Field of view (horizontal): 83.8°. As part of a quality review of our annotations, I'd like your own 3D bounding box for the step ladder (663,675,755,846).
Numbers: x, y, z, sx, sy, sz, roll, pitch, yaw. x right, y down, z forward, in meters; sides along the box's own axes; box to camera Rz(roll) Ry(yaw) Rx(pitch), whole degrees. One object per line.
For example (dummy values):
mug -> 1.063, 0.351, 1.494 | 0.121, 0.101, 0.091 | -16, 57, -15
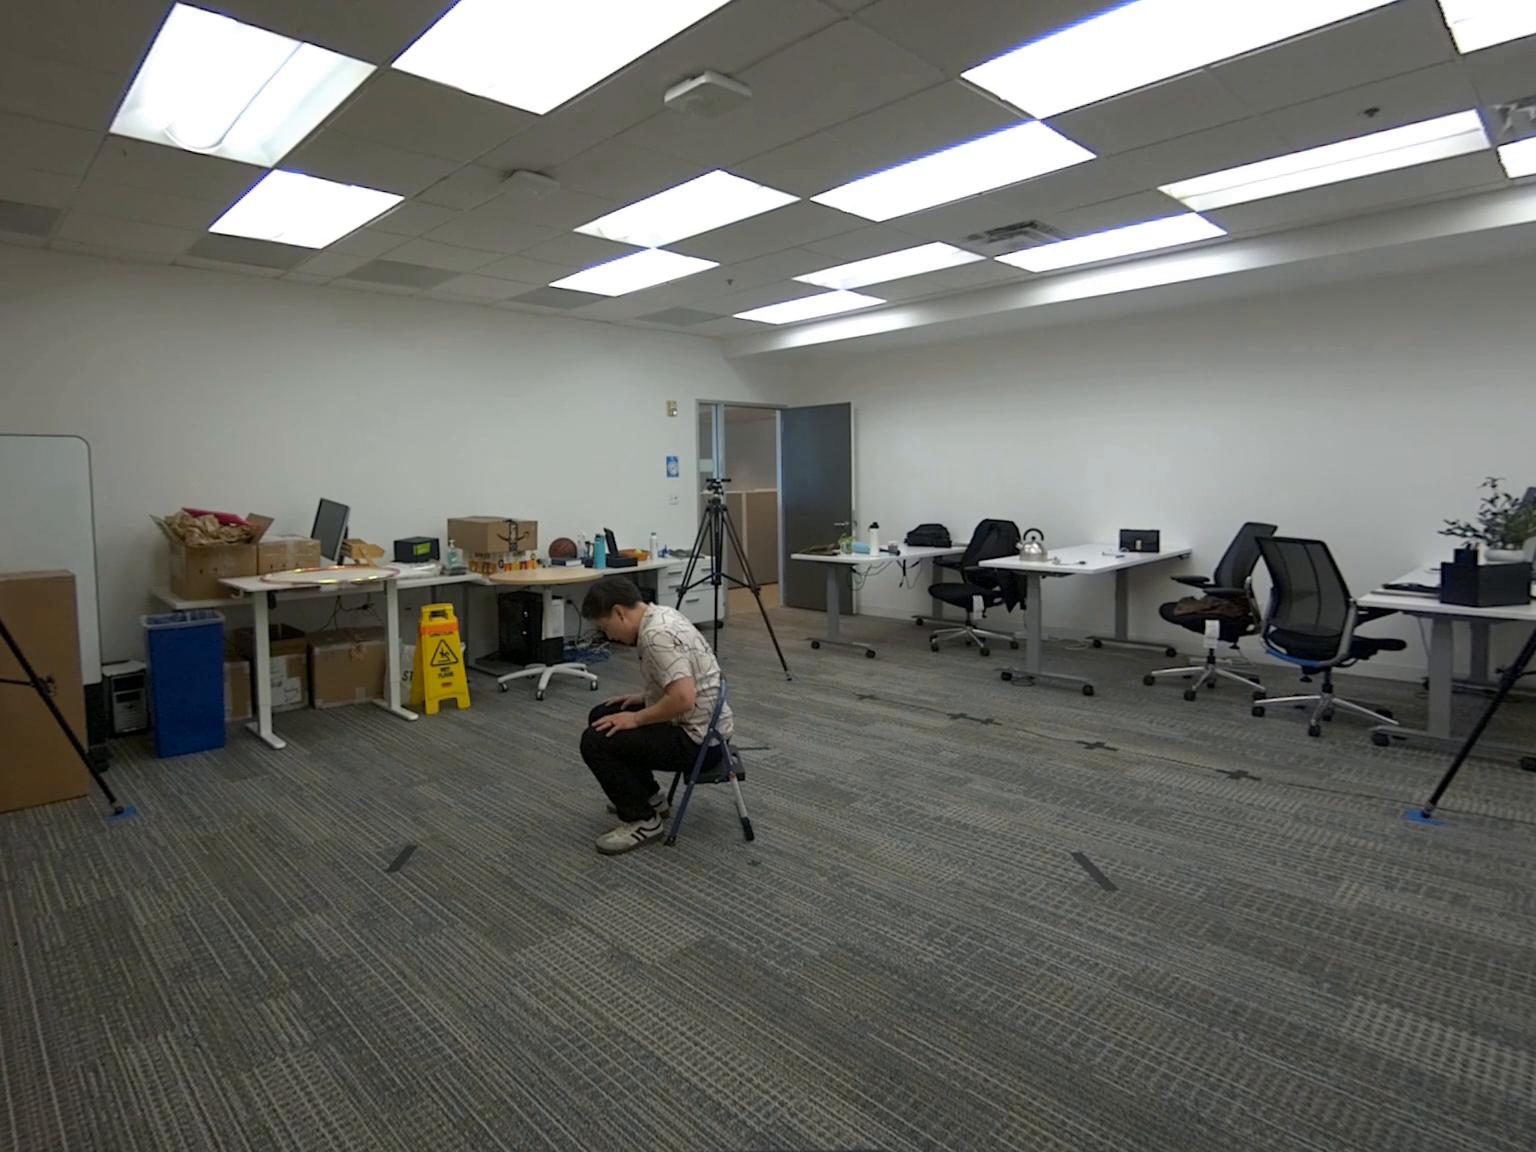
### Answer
step ladder -> -0.253, 0.708, 3.466 | 0.347, 0.604, 0.435 | -1, 3, -7
